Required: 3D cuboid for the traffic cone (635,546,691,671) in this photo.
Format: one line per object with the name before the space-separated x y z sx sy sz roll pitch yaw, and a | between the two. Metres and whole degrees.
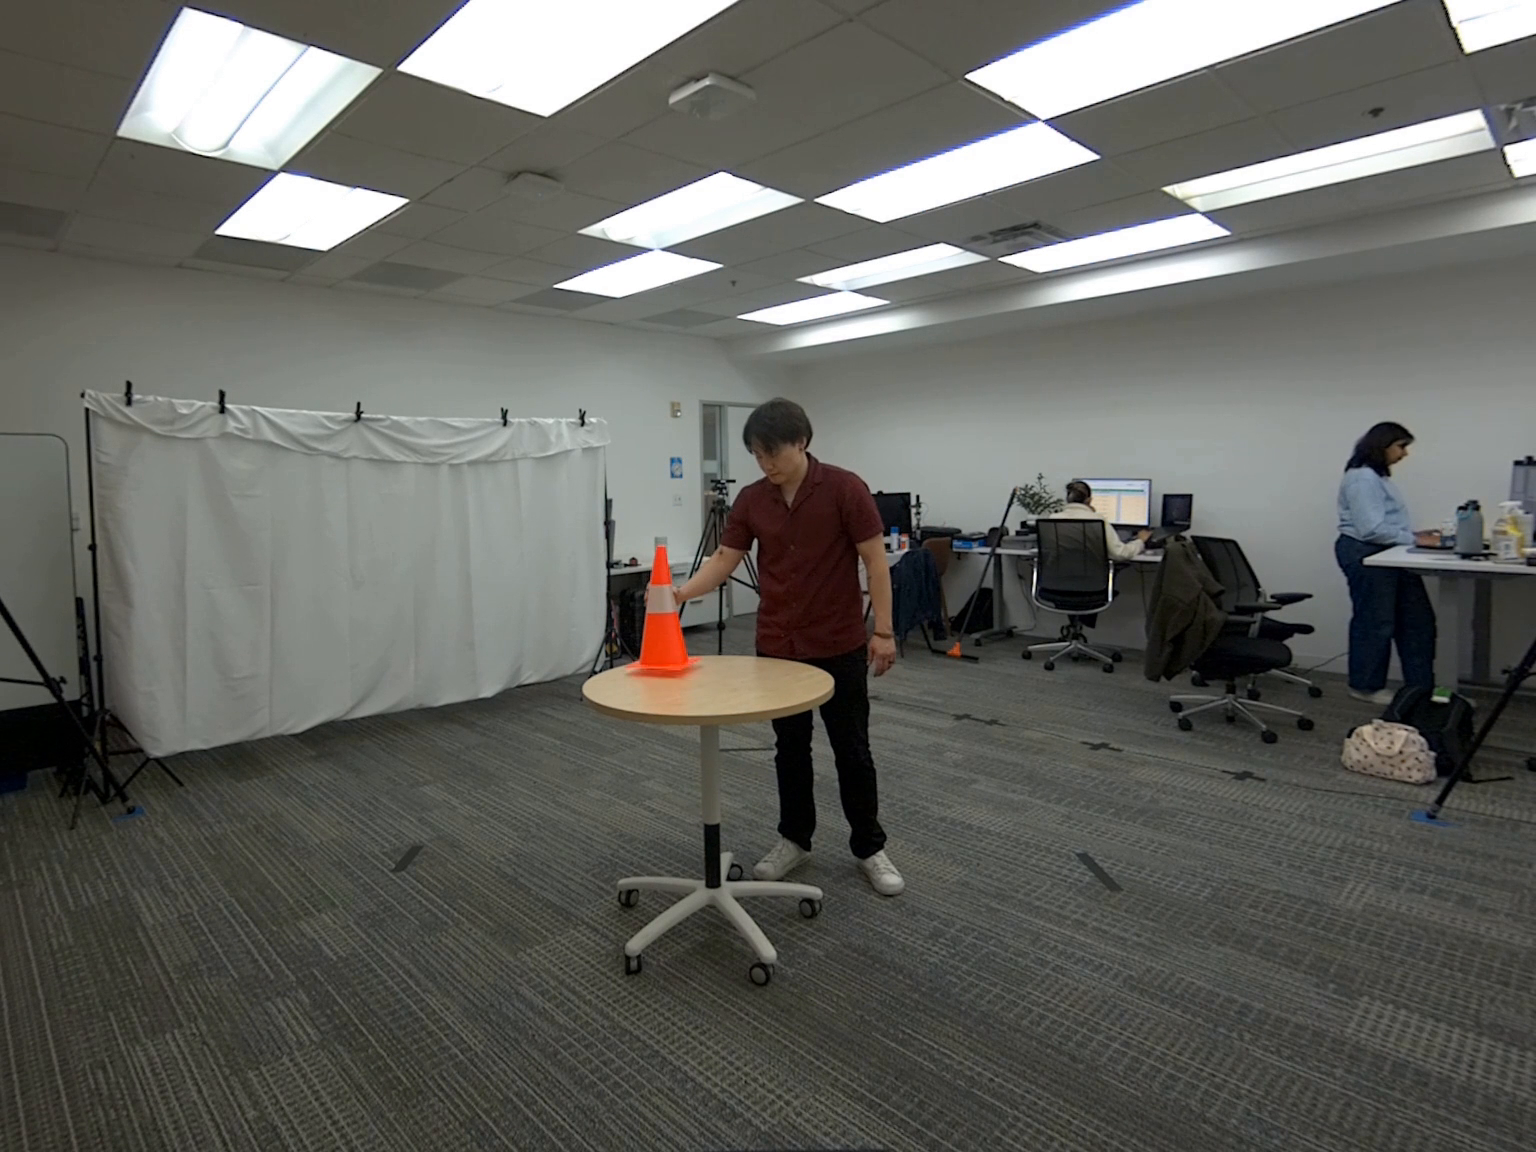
traffic cone | -0.334 0.094 2.772 0.206 0.383 0.202 -2 2 15
